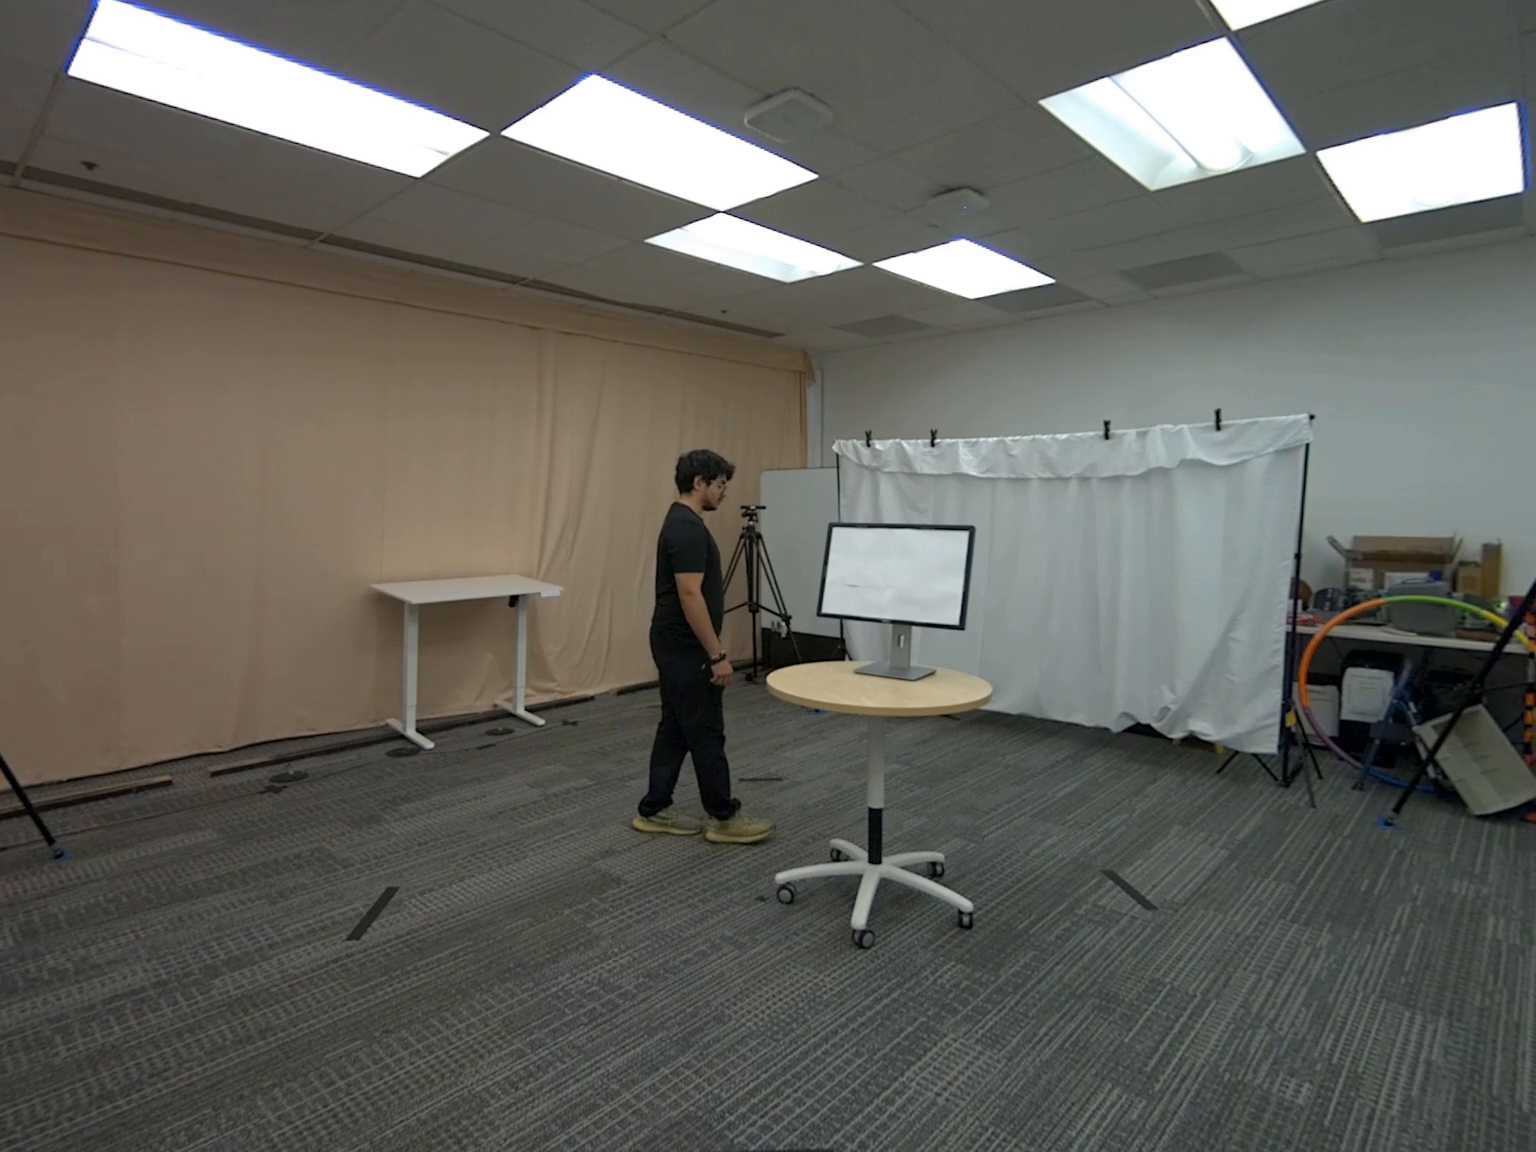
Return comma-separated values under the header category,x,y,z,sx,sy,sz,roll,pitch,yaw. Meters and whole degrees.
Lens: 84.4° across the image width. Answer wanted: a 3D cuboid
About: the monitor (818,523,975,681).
category,x,y,z,sx,sy,sz,roll,pitch,yaw
monitor,0.489,0.087,3.080,0.583,0.555,0.203,3,-3,33
